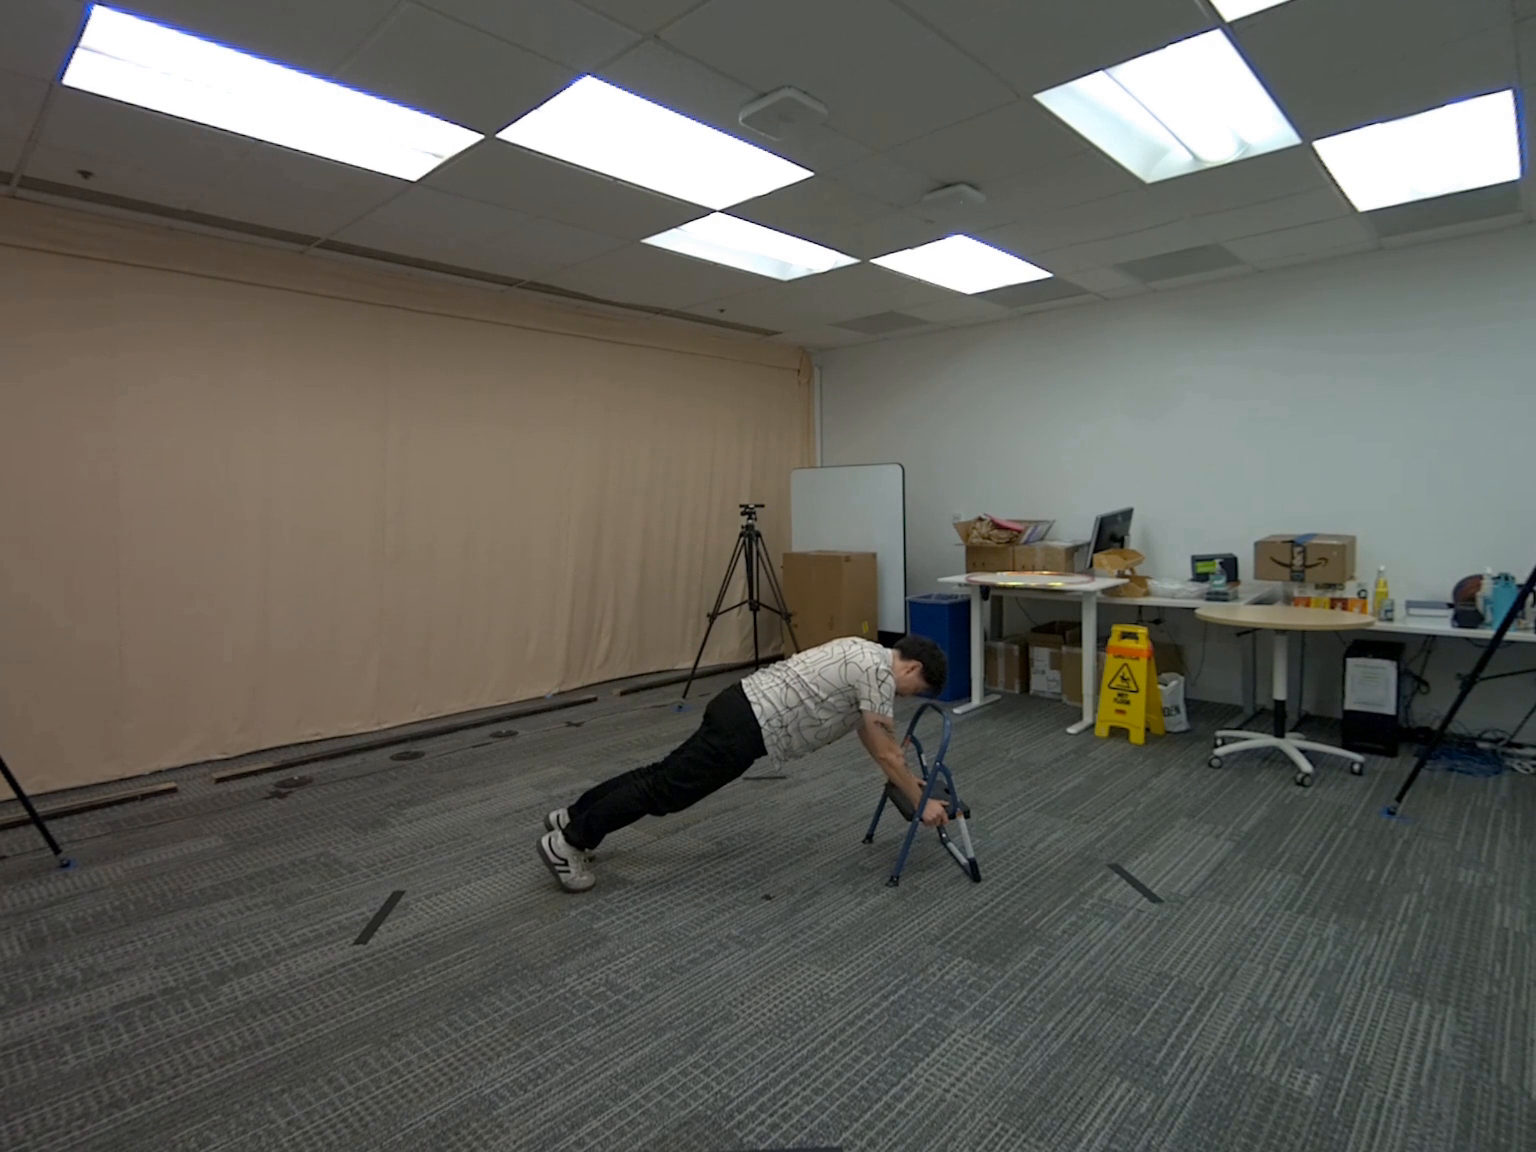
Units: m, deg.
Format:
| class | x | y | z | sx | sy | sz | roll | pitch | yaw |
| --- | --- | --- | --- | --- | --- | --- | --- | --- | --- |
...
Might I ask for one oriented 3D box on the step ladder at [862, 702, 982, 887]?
| class | x | y | z | sx | sy | sz | roll | pitch | yaw |
| --- | --- | --- | --- | --- | --- | --- | --- | --- | --- |
| step ladder | 0.588 | 0.806 | 3.249 | 0.348 | 0.605 | 0.434 | -1 | 3 | -5 |
